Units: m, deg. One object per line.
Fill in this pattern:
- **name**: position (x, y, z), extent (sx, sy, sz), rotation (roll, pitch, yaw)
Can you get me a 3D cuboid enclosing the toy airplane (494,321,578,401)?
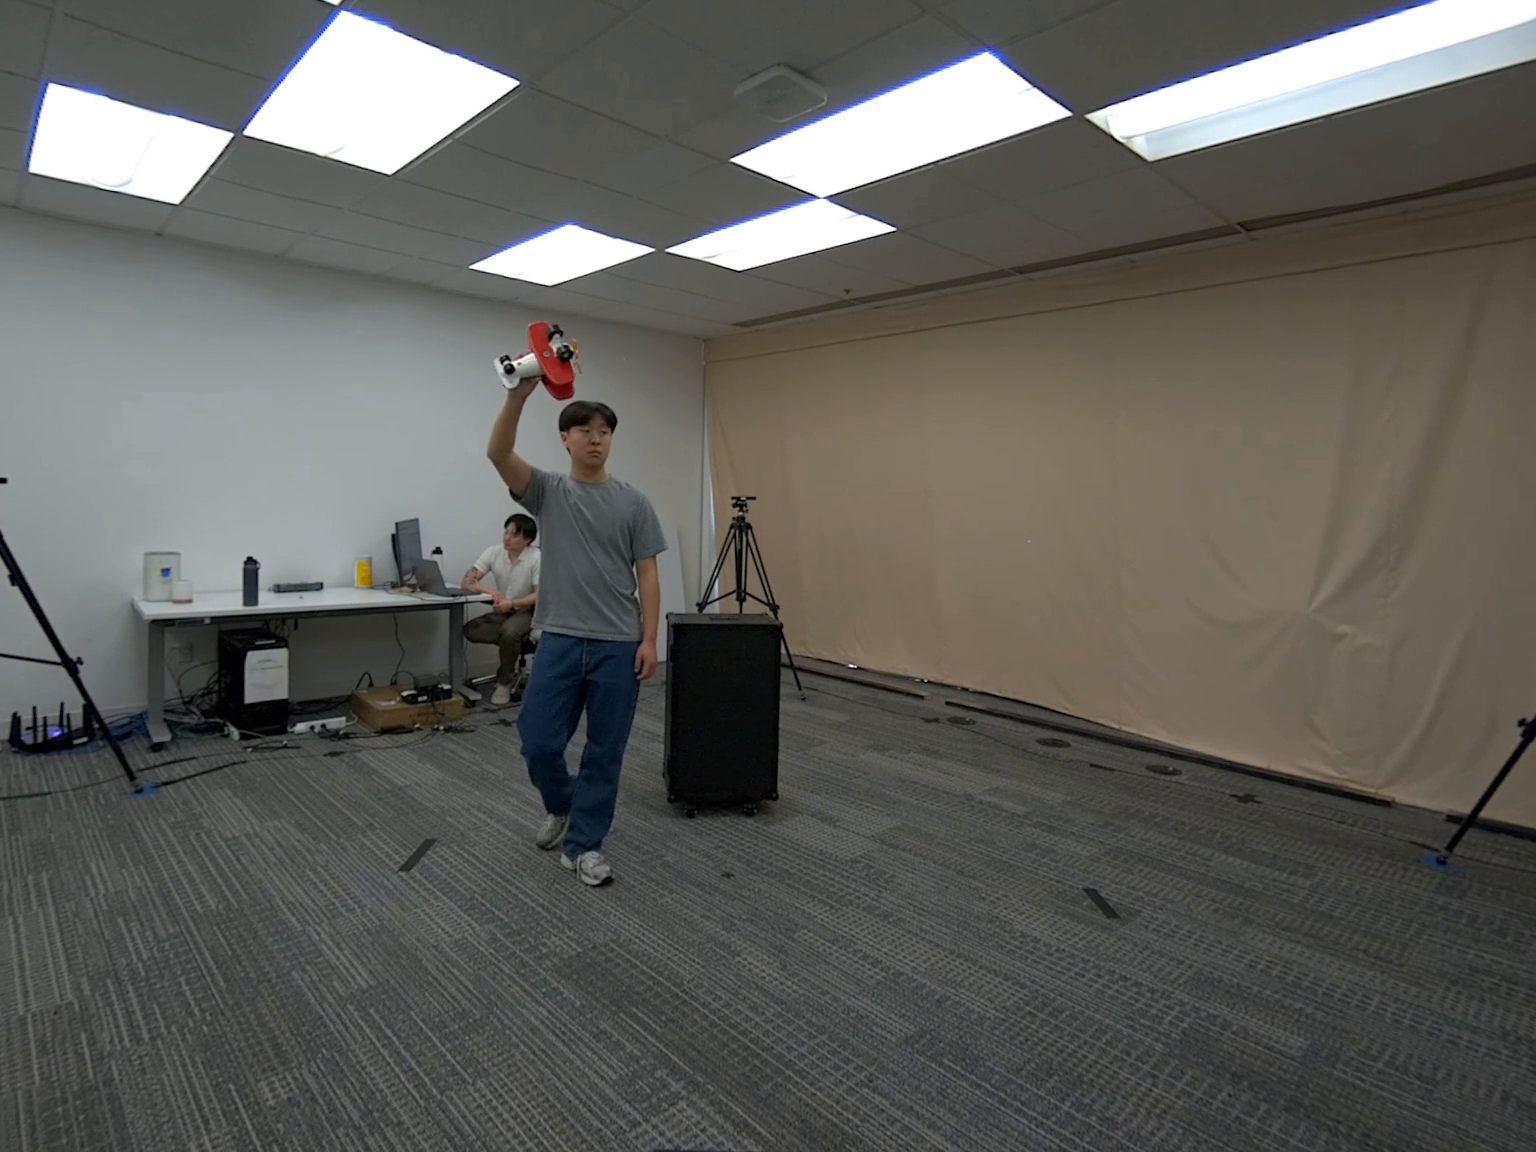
- **toy airplane**: position (-0.742, -0.701, 2.691), extent (0.259, 0.254, 0.154), rotation (-1, -19, 1)
